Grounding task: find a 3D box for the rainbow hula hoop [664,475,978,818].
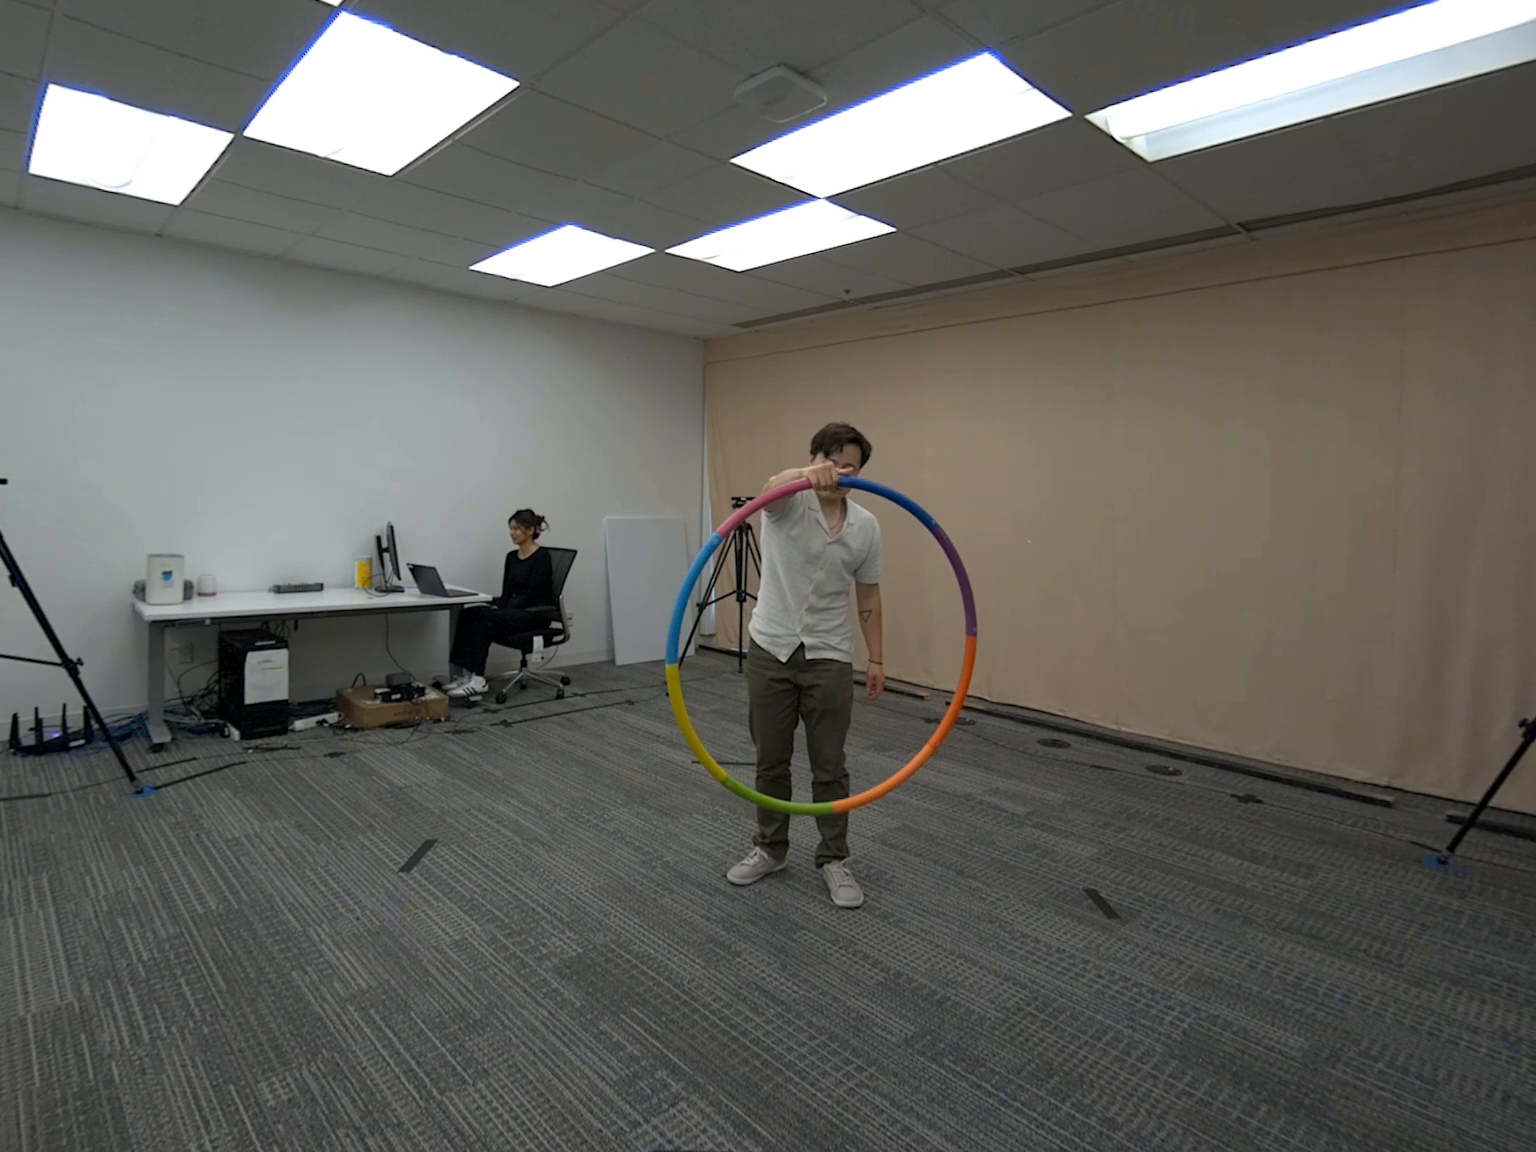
[{"bbox_3d":[0.180,0.209,2.428,0.964,0.975,0.036,0,6,-20],"label":"rainbow hula hoop"}]
